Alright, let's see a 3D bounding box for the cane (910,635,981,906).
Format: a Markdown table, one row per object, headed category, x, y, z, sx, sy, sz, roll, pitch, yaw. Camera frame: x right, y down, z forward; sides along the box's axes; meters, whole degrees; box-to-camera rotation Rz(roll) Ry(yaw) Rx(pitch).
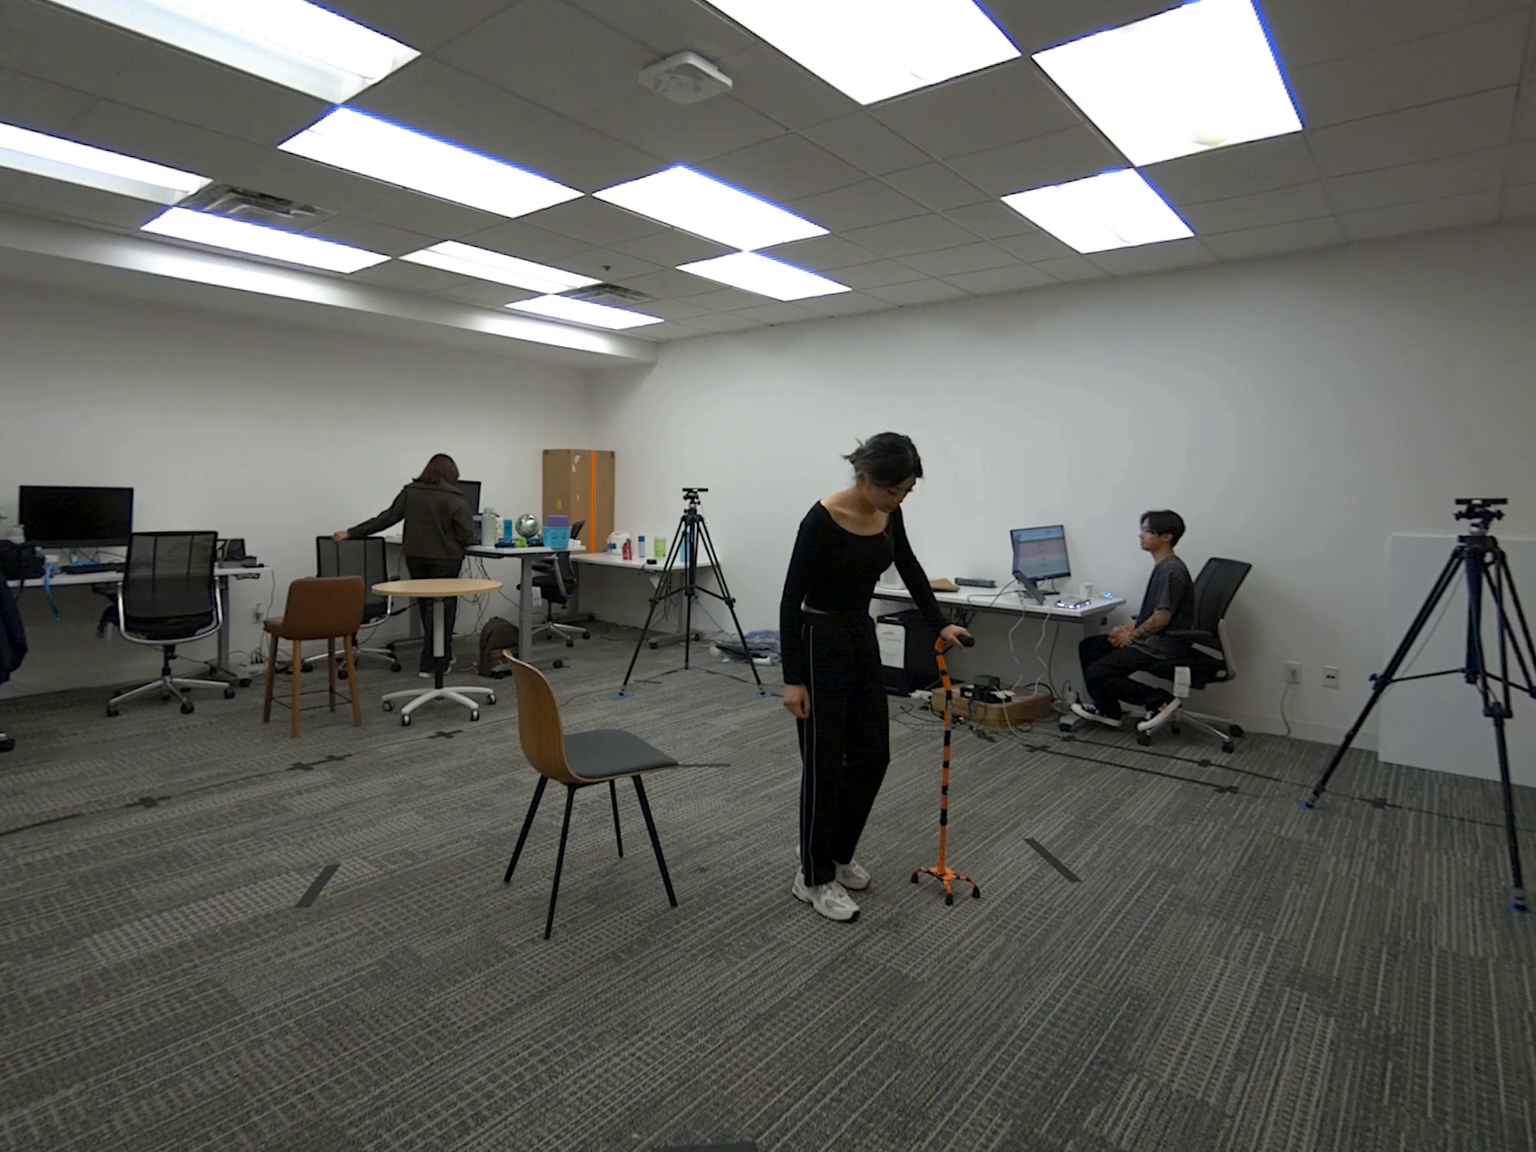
| category | x | y | z | sx | sy | sz | roll | pitch | yaw |
| --- | --- | --- | --- | --- | --- | --- | --- | --- | --- |
| cane | 0.637 | 0.652 | 2.976 | 0.147 | 0.904 | 0.213 | 0 | 5 | -30 |
